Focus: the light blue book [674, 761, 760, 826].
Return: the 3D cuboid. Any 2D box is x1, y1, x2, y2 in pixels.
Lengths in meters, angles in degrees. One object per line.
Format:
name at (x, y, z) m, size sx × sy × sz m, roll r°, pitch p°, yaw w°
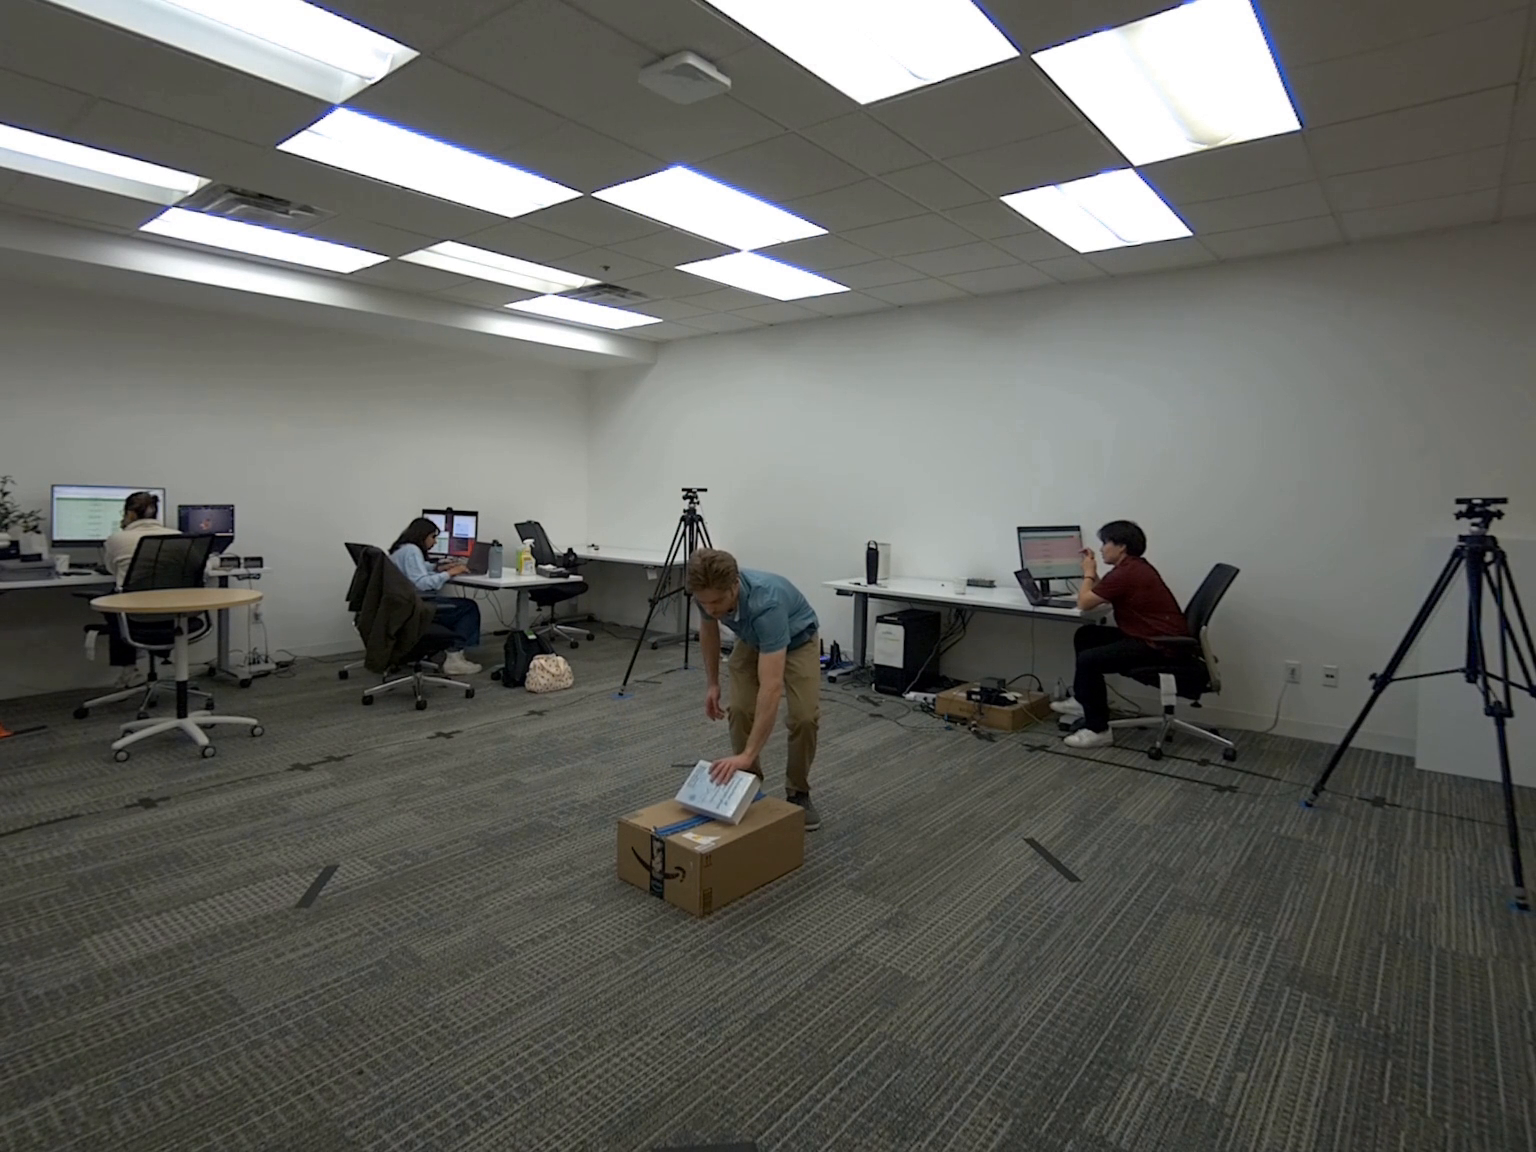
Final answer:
light blue book at (-0.196, 0.789, 3.110) m, size 0.270 × 0.057 × 0.192 m, roll 7°, pitch 44°, yaw 36°
